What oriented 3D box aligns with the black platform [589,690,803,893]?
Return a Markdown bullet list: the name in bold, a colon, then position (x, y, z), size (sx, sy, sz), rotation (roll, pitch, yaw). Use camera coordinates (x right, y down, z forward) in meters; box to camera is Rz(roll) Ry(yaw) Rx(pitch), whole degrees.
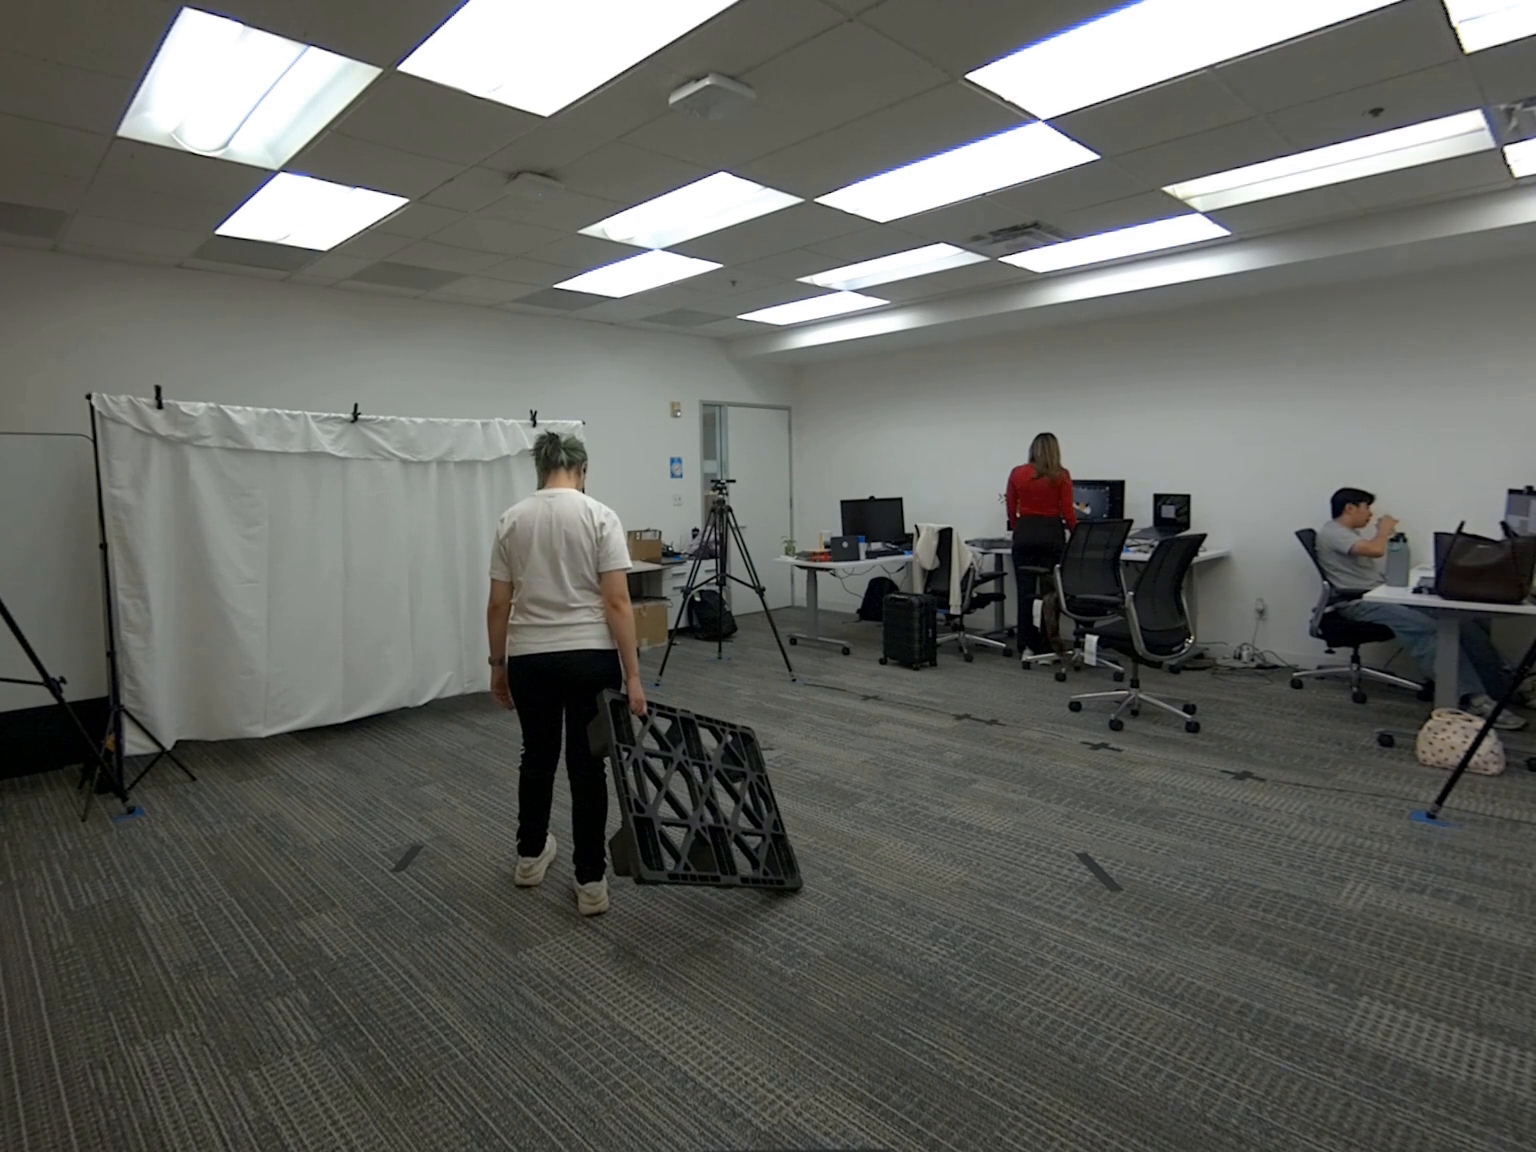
- **black platform**: position (-0.241, 0.738, 2.808), size (0.144, 0.625, 0.775), rotation (-36, -37, 22)
